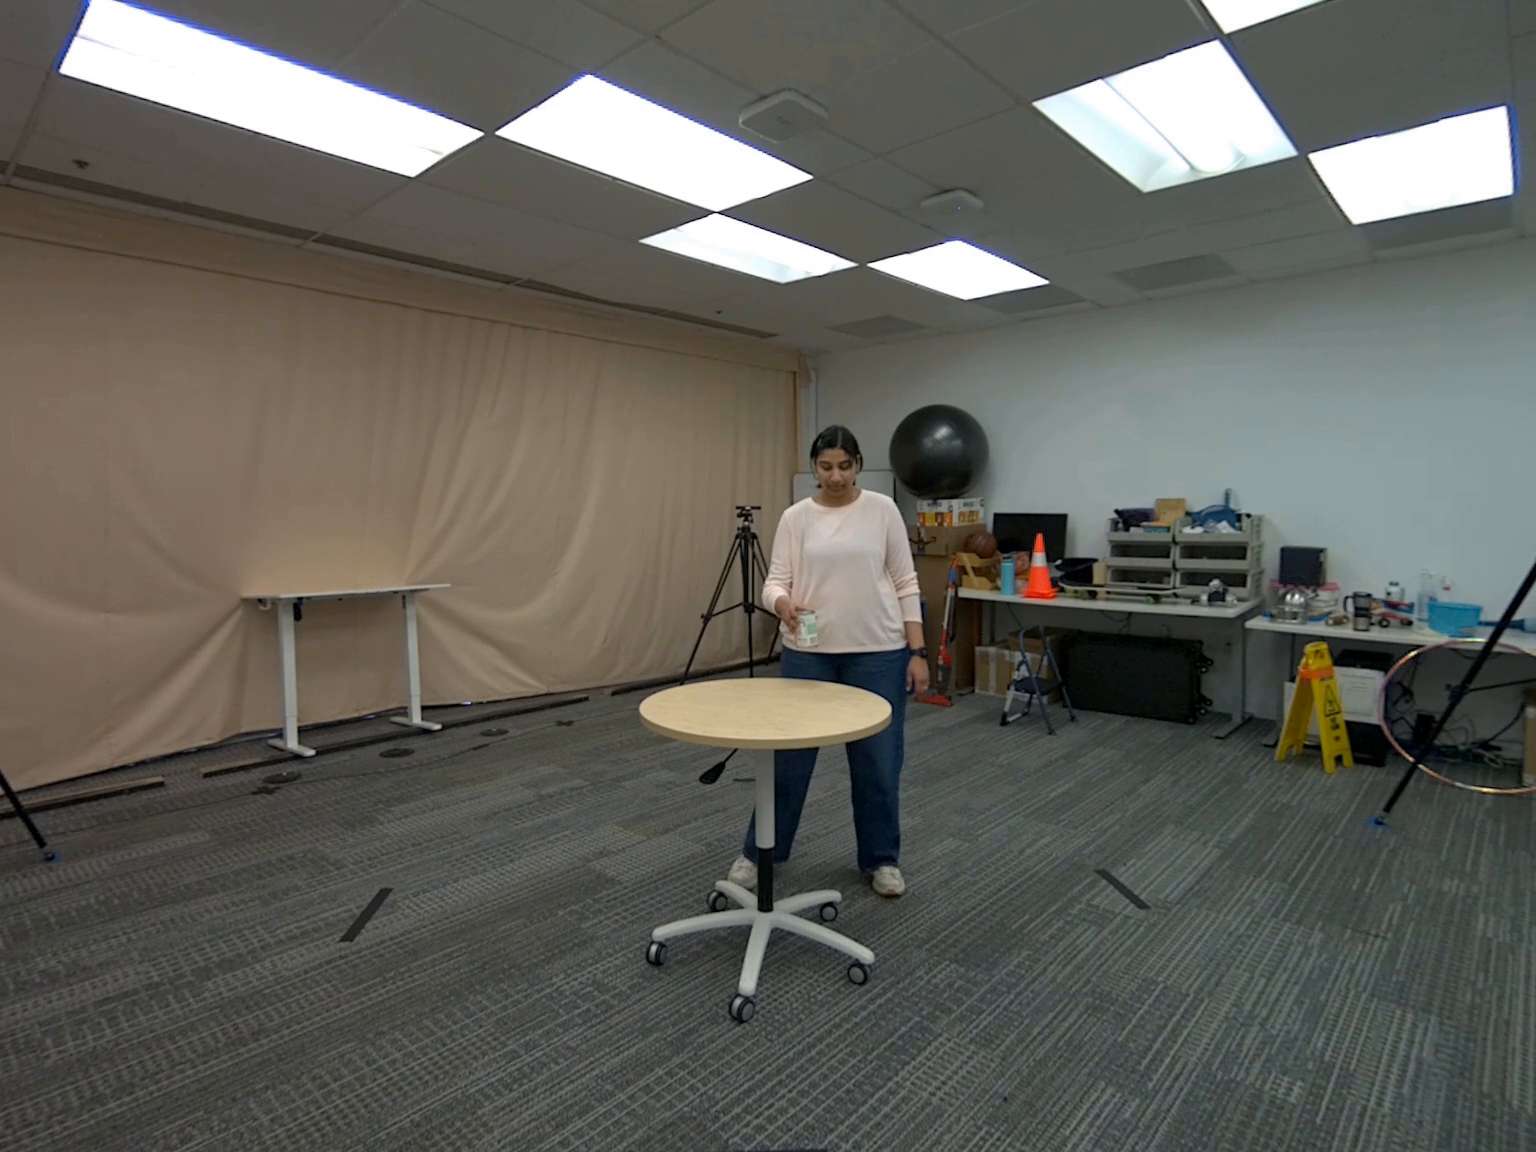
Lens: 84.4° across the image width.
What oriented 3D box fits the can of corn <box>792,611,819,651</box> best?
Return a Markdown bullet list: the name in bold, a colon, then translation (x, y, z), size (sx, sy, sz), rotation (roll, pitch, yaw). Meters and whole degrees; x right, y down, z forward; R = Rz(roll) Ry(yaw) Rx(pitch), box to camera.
- **can of corn**: translation (0.113, 0.173, 2.727), size (0.074, 0.111, 0.074), rotation (-1, 5, -2)
